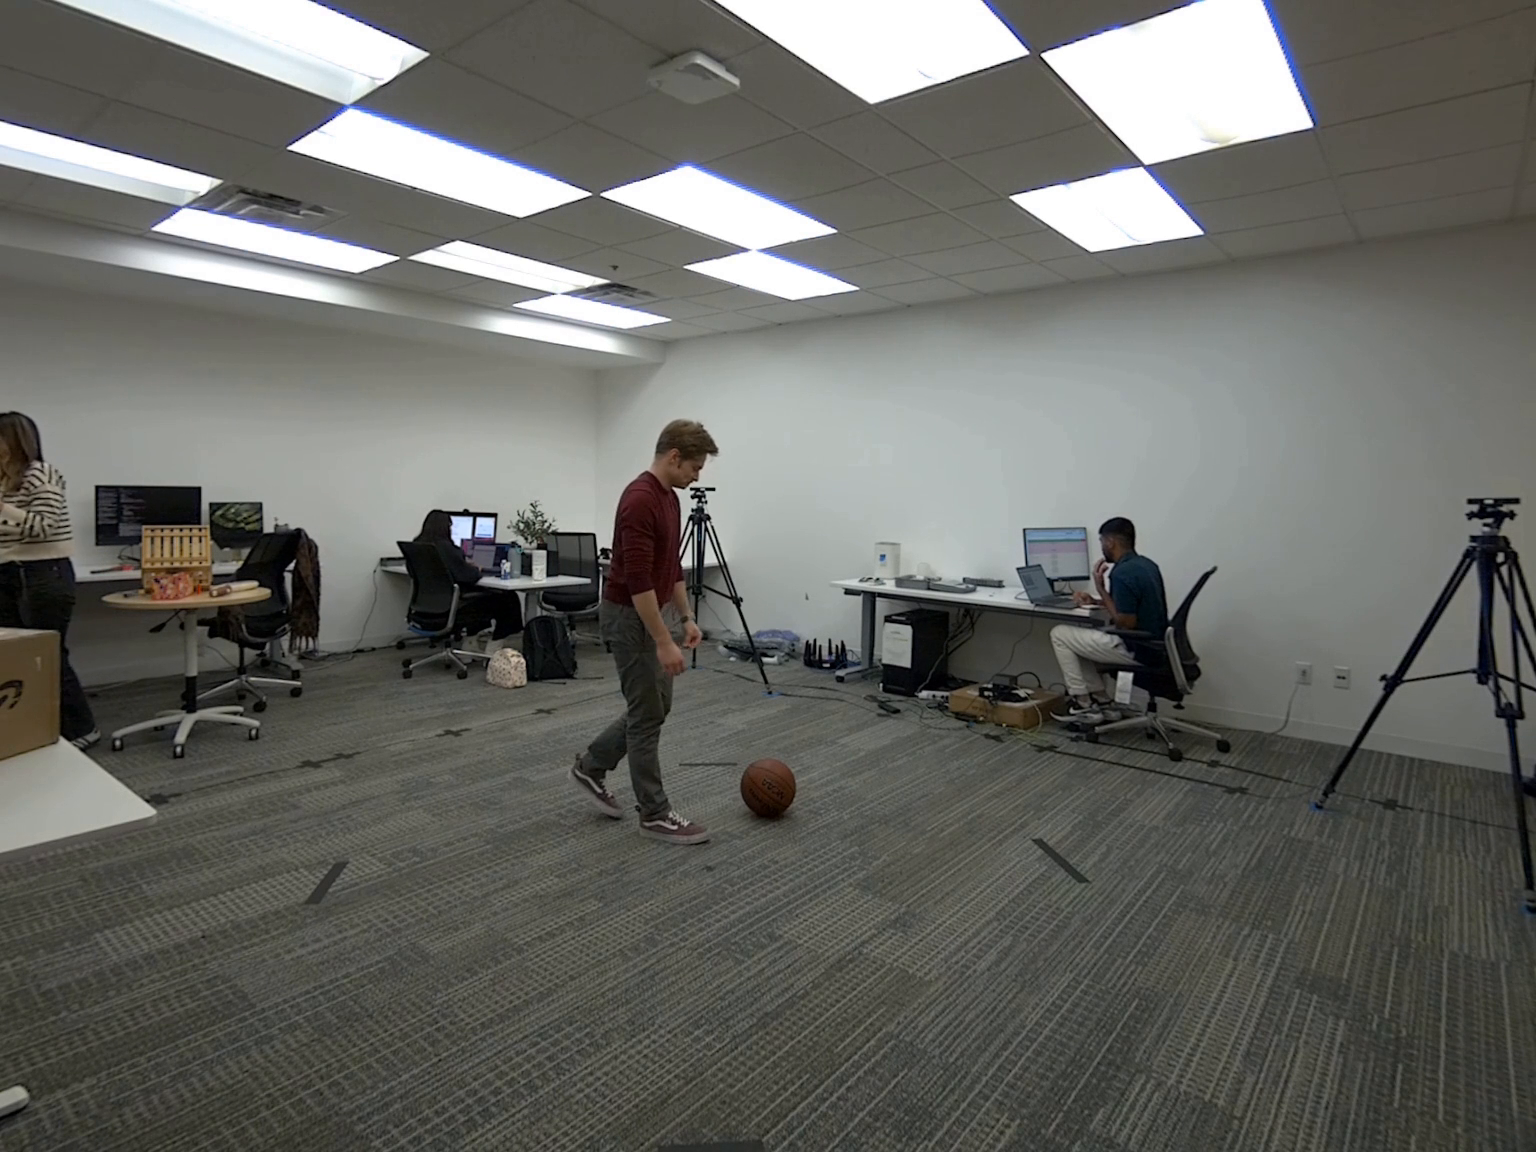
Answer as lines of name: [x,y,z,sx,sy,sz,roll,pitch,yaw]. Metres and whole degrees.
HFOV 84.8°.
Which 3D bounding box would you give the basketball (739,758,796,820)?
basketball: [-0.004,0.897,3.639,0.235,0.235,0.237,1,4,-2]
